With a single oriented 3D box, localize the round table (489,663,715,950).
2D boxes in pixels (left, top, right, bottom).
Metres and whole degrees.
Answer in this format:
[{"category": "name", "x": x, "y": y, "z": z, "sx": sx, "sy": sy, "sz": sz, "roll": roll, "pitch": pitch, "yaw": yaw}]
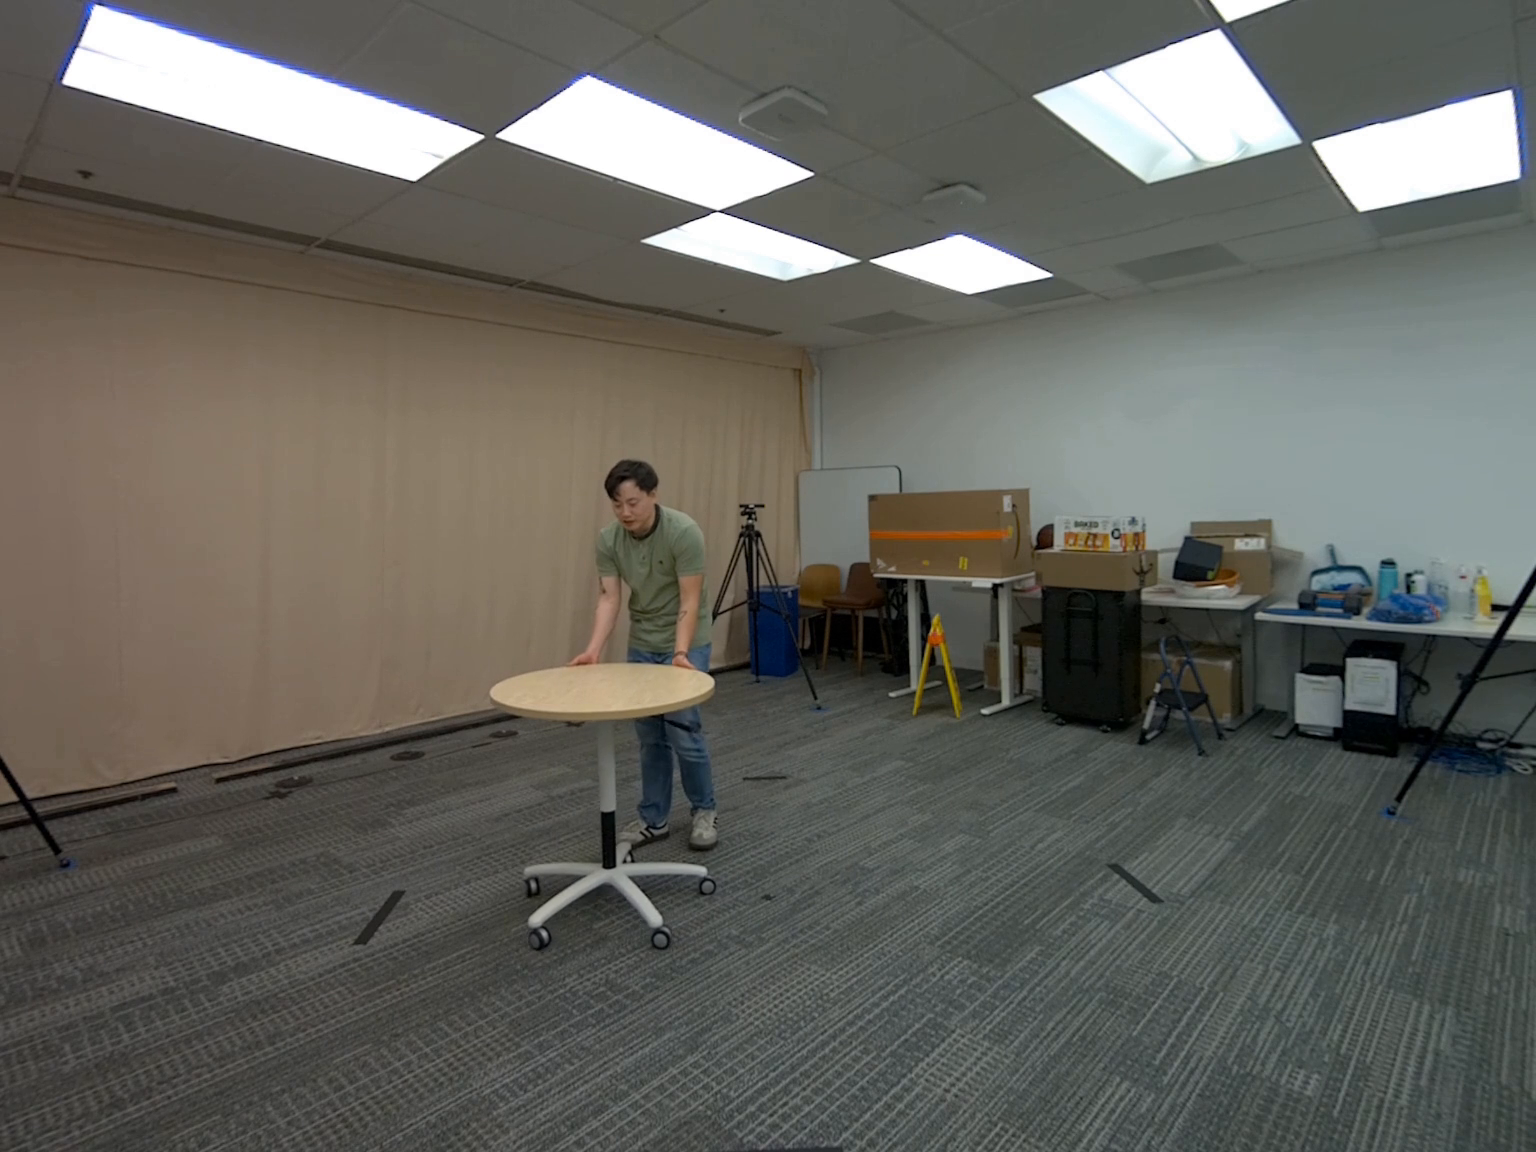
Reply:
[{"category": "round table", "x": -0.553, "y": 0.766, "z": 2.926, "sx": 0.763, "sy": 0.792, "sz": 0.766, "roll": -1, "pitch": 3, "yaw": -2}]
